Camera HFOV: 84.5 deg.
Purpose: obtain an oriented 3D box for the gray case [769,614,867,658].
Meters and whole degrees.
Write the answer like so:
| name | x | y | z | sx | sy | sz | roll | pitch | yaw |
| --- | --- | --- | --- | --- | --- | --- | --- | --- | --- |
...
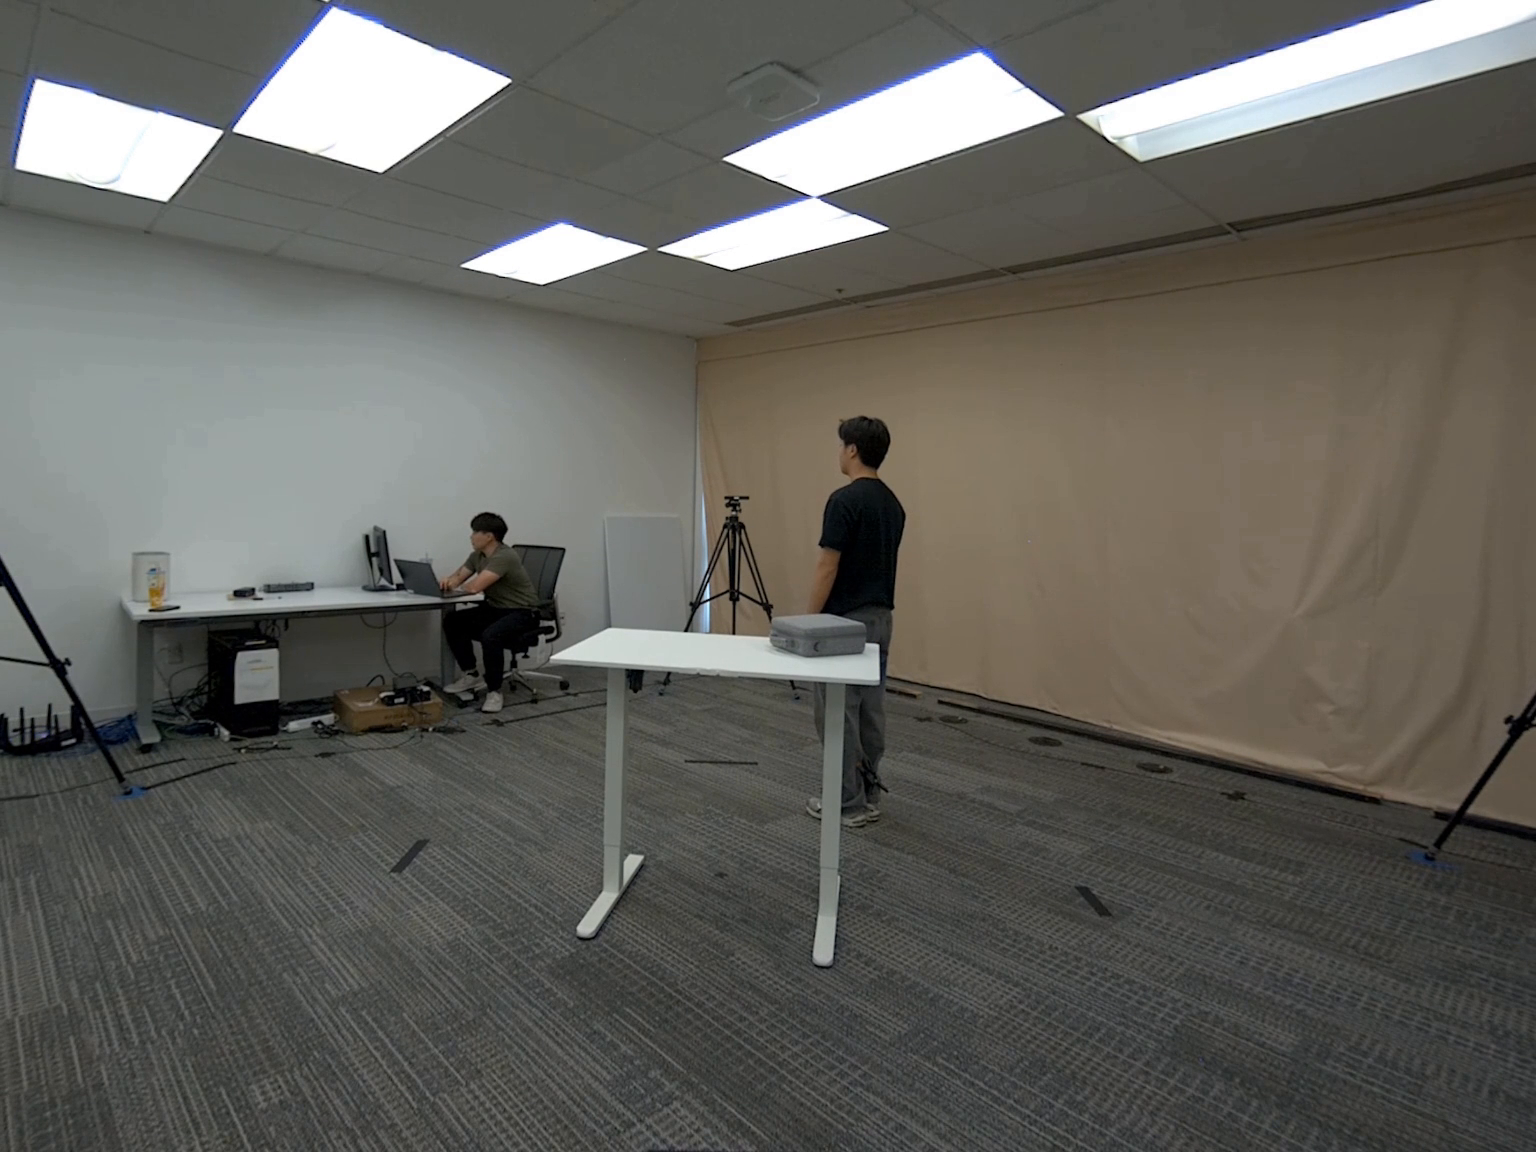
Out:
| name | x | y | z | sx | sy | sz | roll | pitch | yaw |
| --- | --- | --- | --- | --- | --- | --- | --- | --- | --- |
| gray case | 0.159 | 0.194 | 2.843 | 0.259 | 0.103 | 0.291 | 0 | 3 | -18 |
